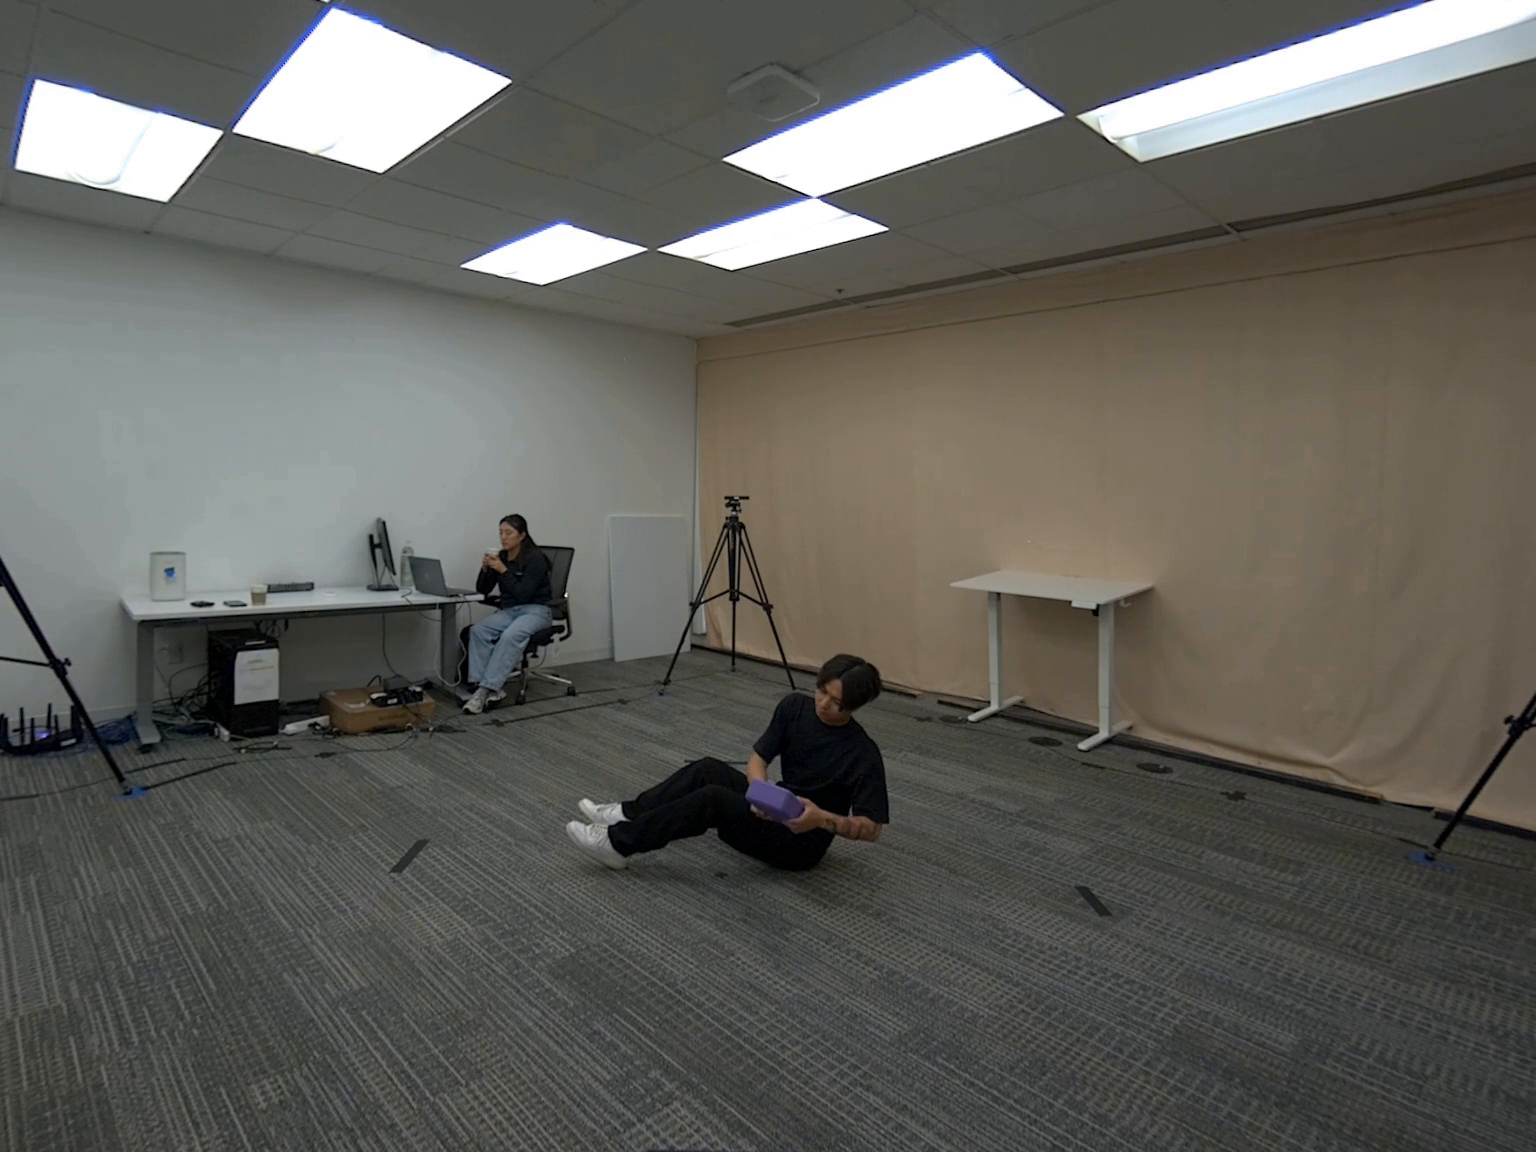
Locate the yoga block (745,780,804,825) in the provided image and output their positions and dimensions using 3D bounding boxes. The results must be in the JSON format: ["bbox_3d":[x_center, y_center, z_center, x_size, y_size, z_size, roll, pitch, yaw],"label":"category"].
[{"bbox_3d":[0.031,0.777,2.866,0.152,0.077,0.222,11,-26,31],"label":"yoga block"}]
